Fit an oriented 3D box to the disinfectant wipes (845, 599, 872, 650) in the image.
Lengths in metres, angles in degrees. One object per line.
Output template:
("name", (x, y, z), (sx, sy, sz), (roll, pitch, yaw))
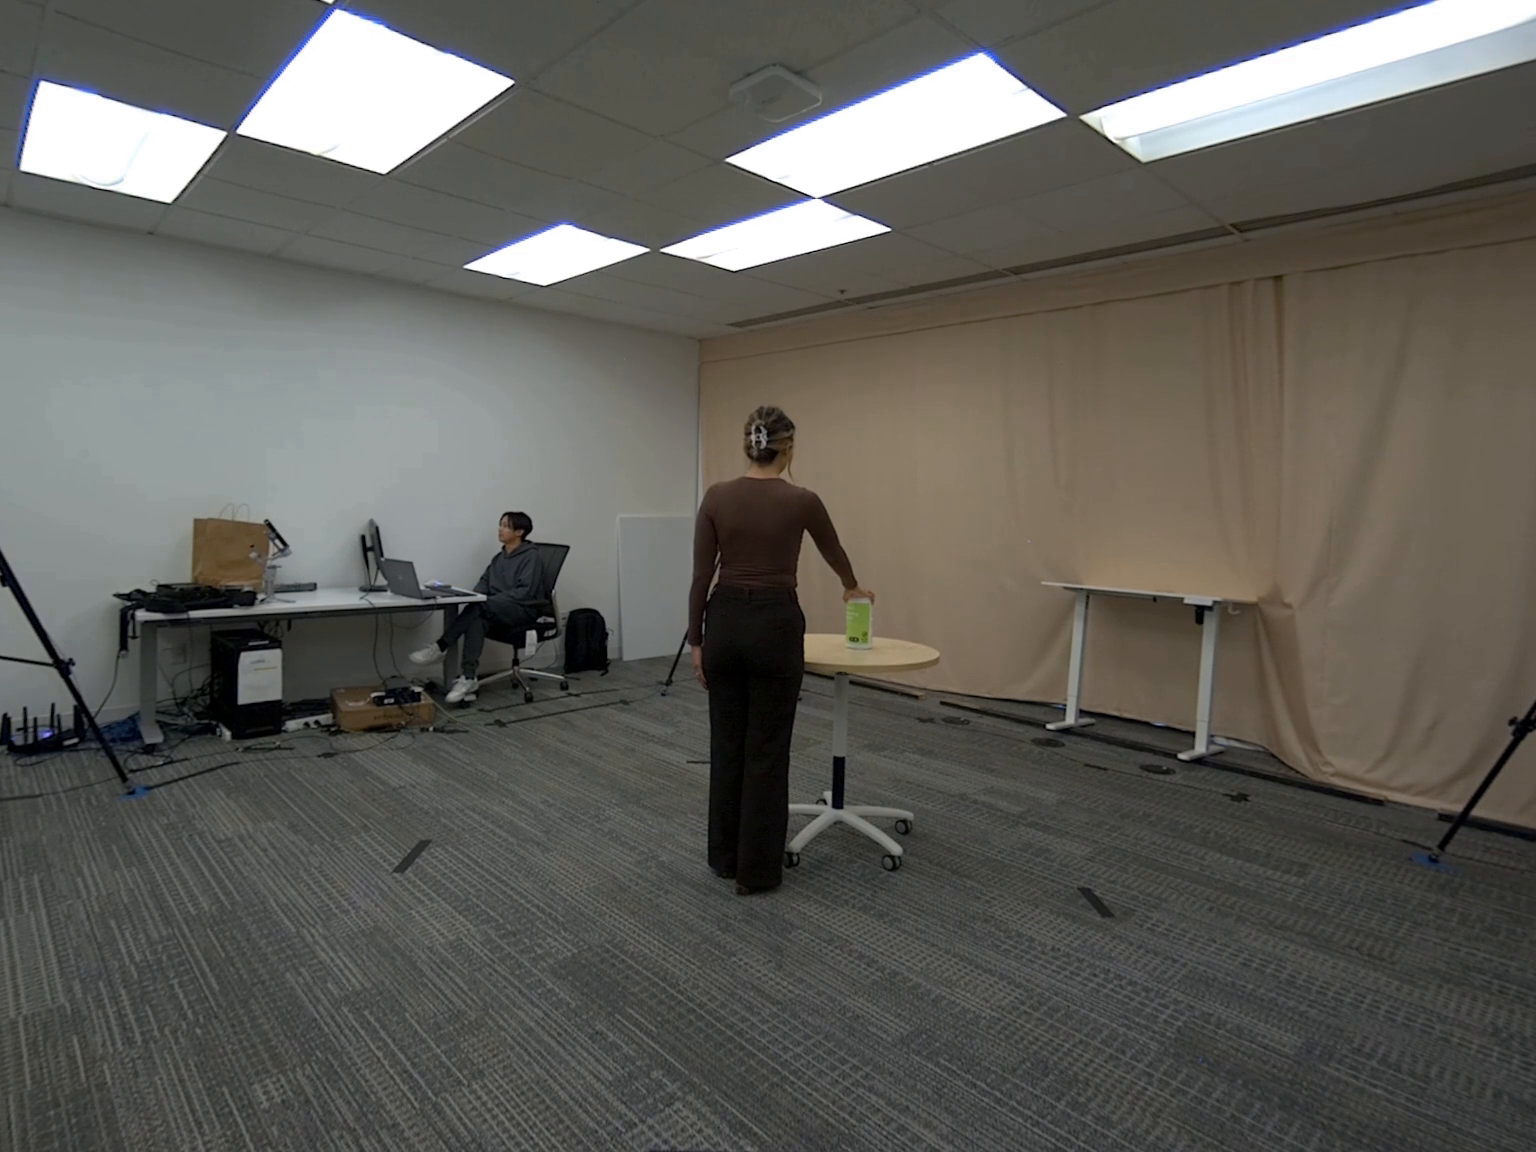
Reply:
("disinfectant wipes", (0.368, 0.187, 3.441), (0.118, 0.216, 0.118), (0, 5, -1))
